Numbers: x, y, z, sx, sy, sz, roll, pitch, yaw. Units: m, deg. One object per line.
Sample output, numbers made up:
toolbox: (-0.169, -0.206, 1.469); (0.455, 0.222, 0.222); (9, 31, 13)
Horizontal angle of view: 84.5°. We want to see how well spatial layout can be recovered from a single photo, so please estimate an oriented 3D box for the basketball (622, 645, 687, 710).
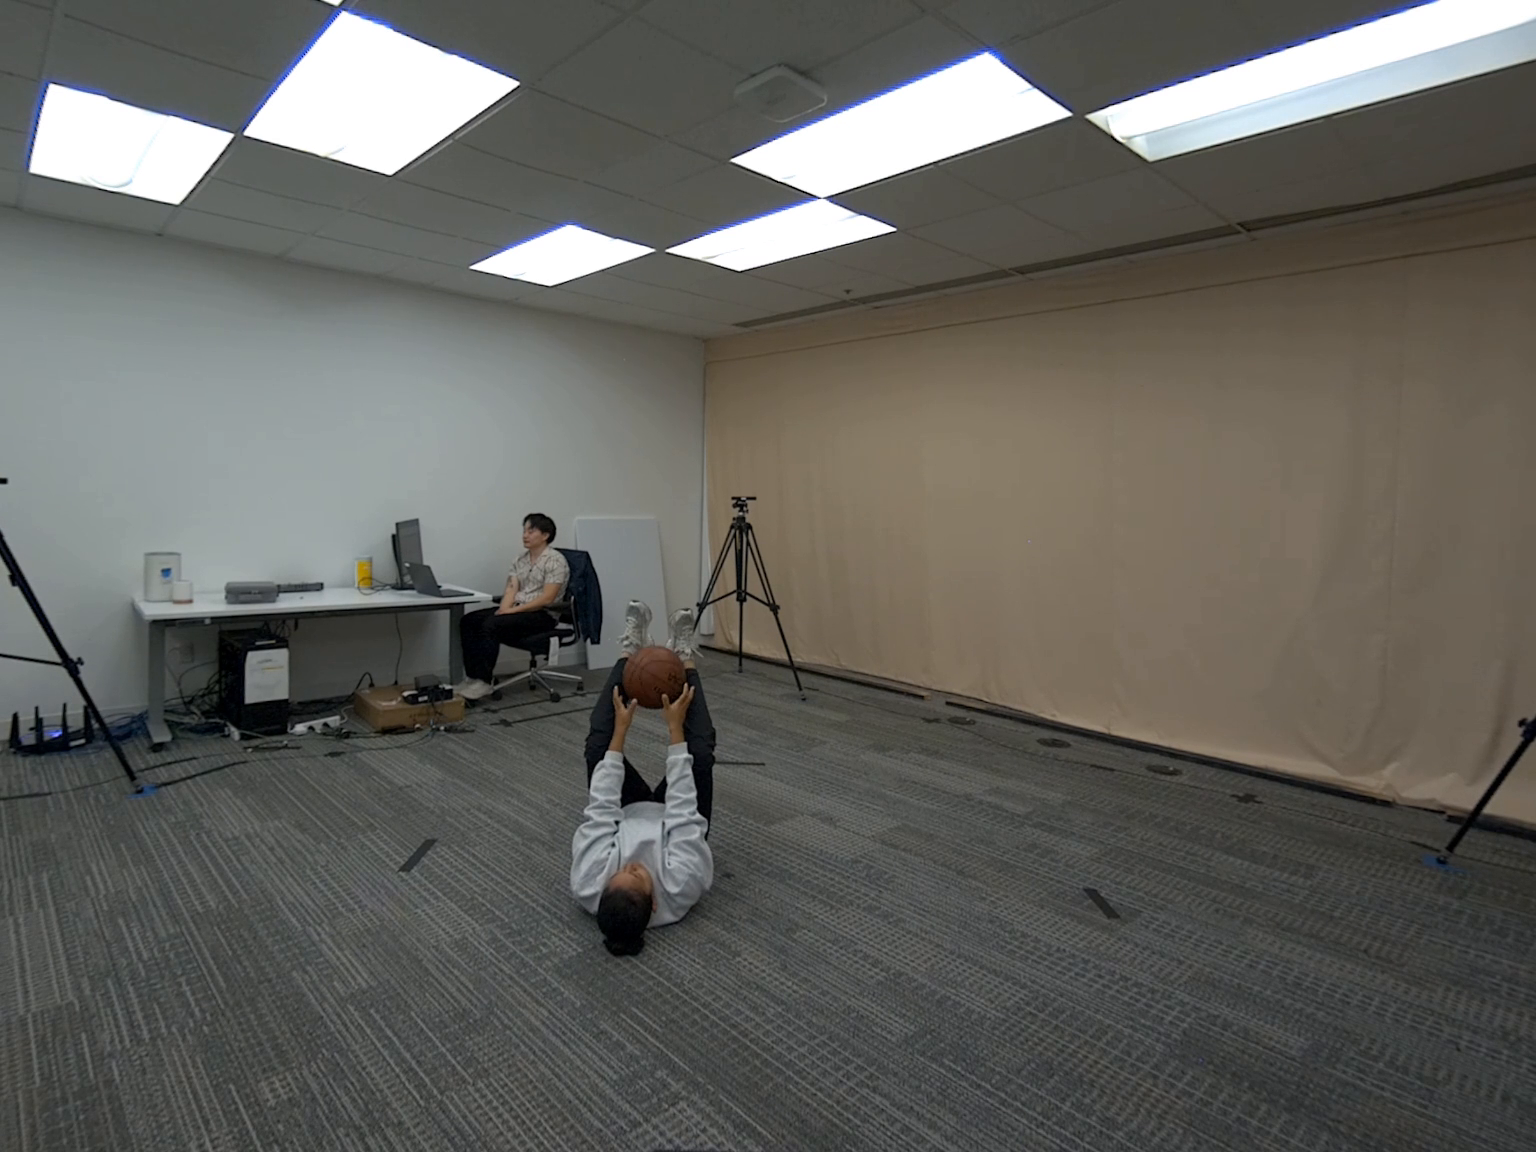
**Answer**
basketball: (-0.434, 0.391, 3.177); (0.236, 0.235, 0.237); (1, 4, -1)
